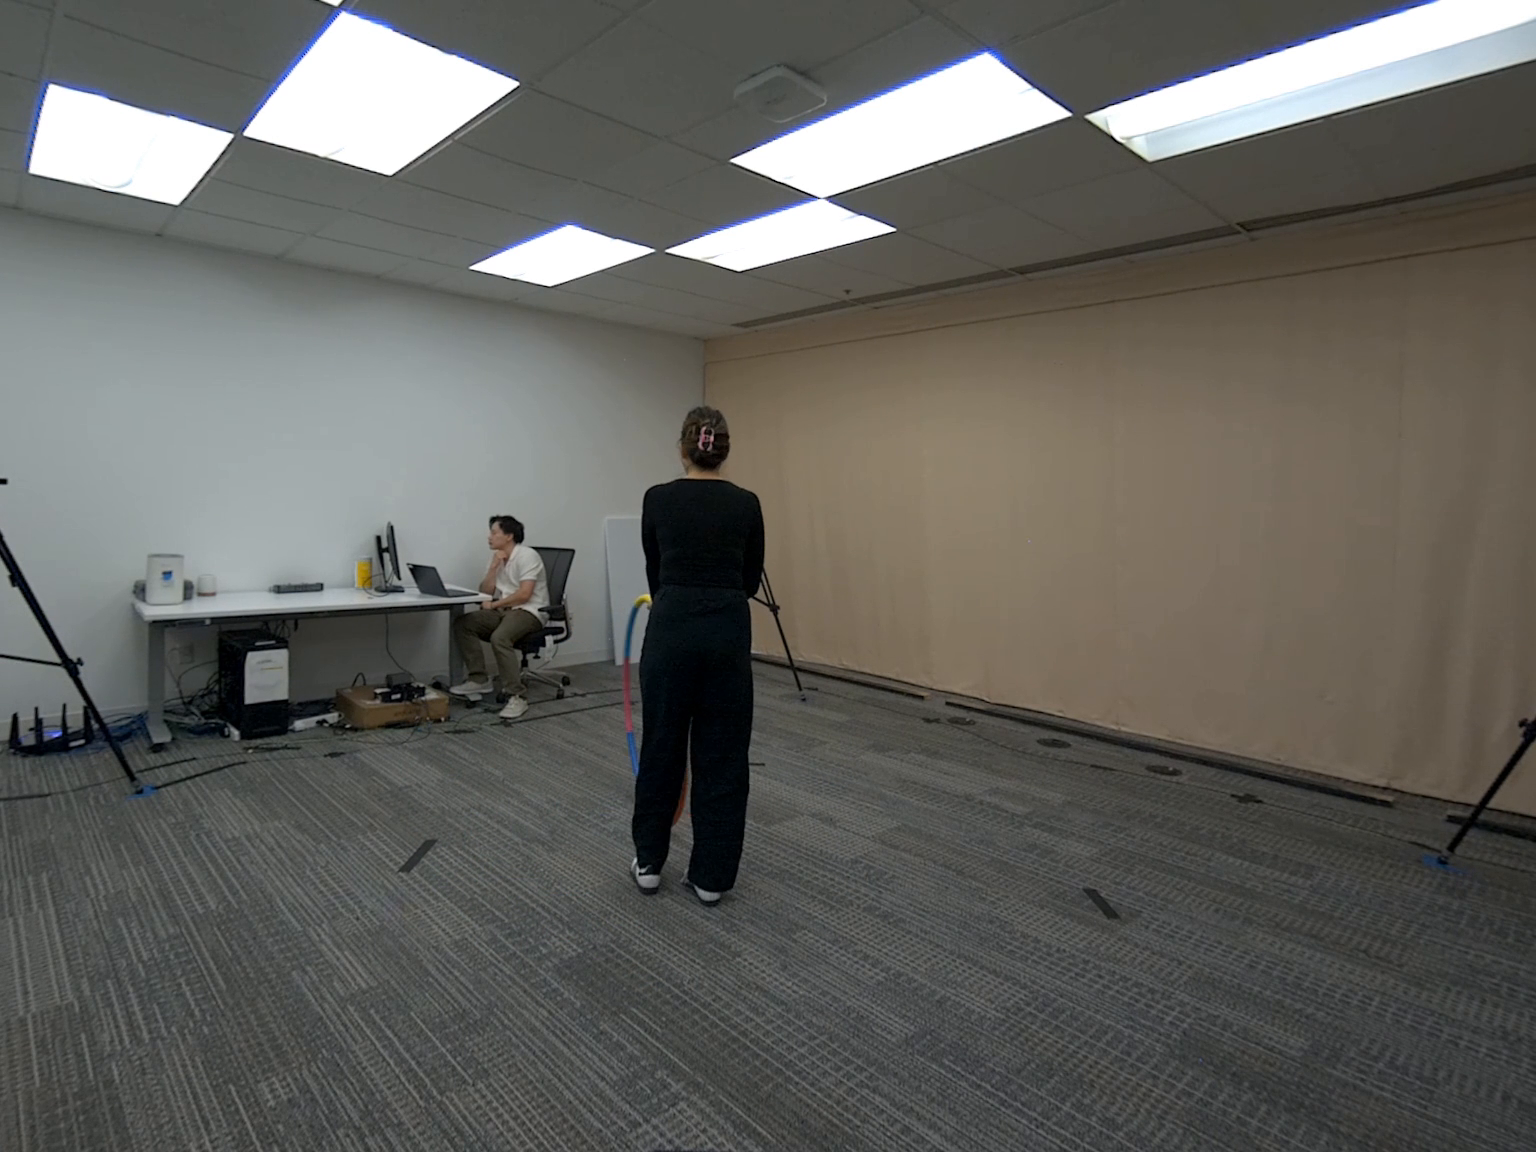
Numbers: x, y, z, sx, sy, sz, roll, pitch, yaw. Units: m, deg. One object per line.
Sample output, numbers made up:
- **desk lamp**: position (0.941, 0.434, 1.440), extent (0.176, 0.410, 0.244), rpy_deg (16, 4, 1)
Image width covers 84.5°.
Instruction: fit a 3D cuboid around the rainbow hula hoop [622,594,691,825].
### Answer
- **rainbow hula hoop**: position (-0.496, 0.574, 3.589), extent (0.035, 0.975, 0.997), rpy_deg (-2, 5, -22)
